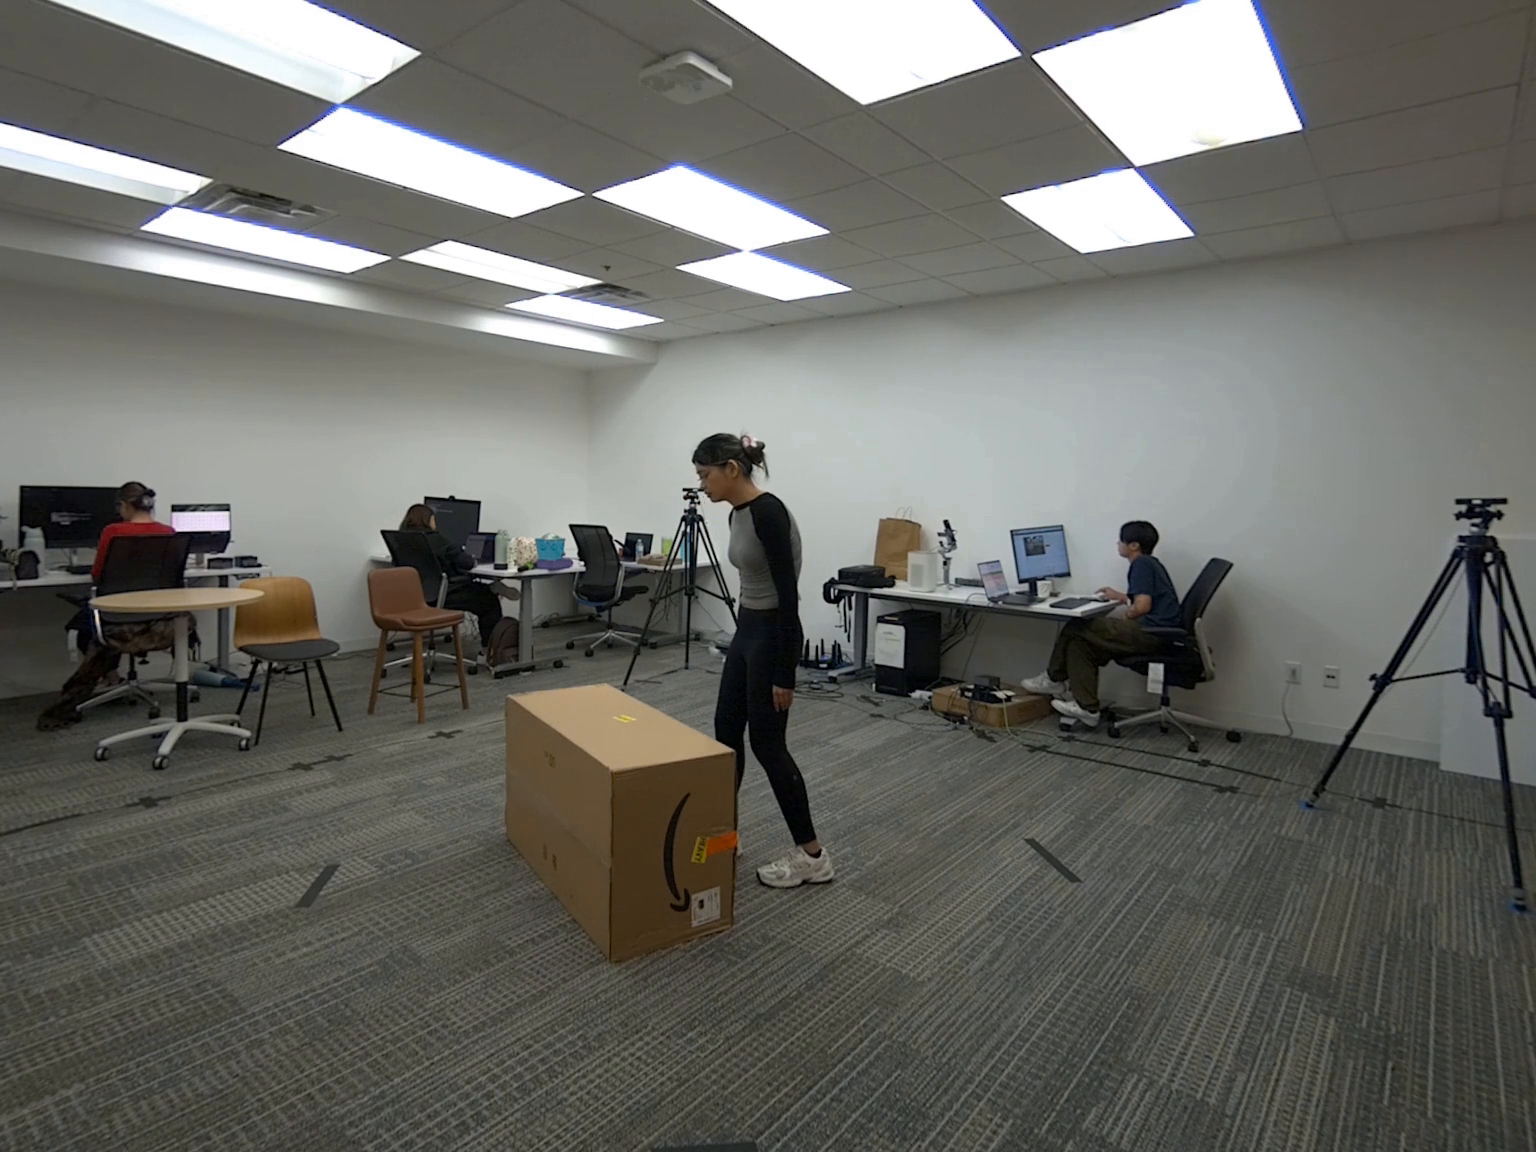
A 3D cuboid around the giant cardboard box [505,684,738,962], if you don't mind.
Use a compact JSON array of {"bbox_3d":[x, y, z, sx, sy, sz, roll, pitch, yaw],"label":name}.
[{"bbox_3d":[-0.573,0.785,2.999,0.414,0.575,1.059,-1,6,-33],"label":"giant cardboard box"}]
